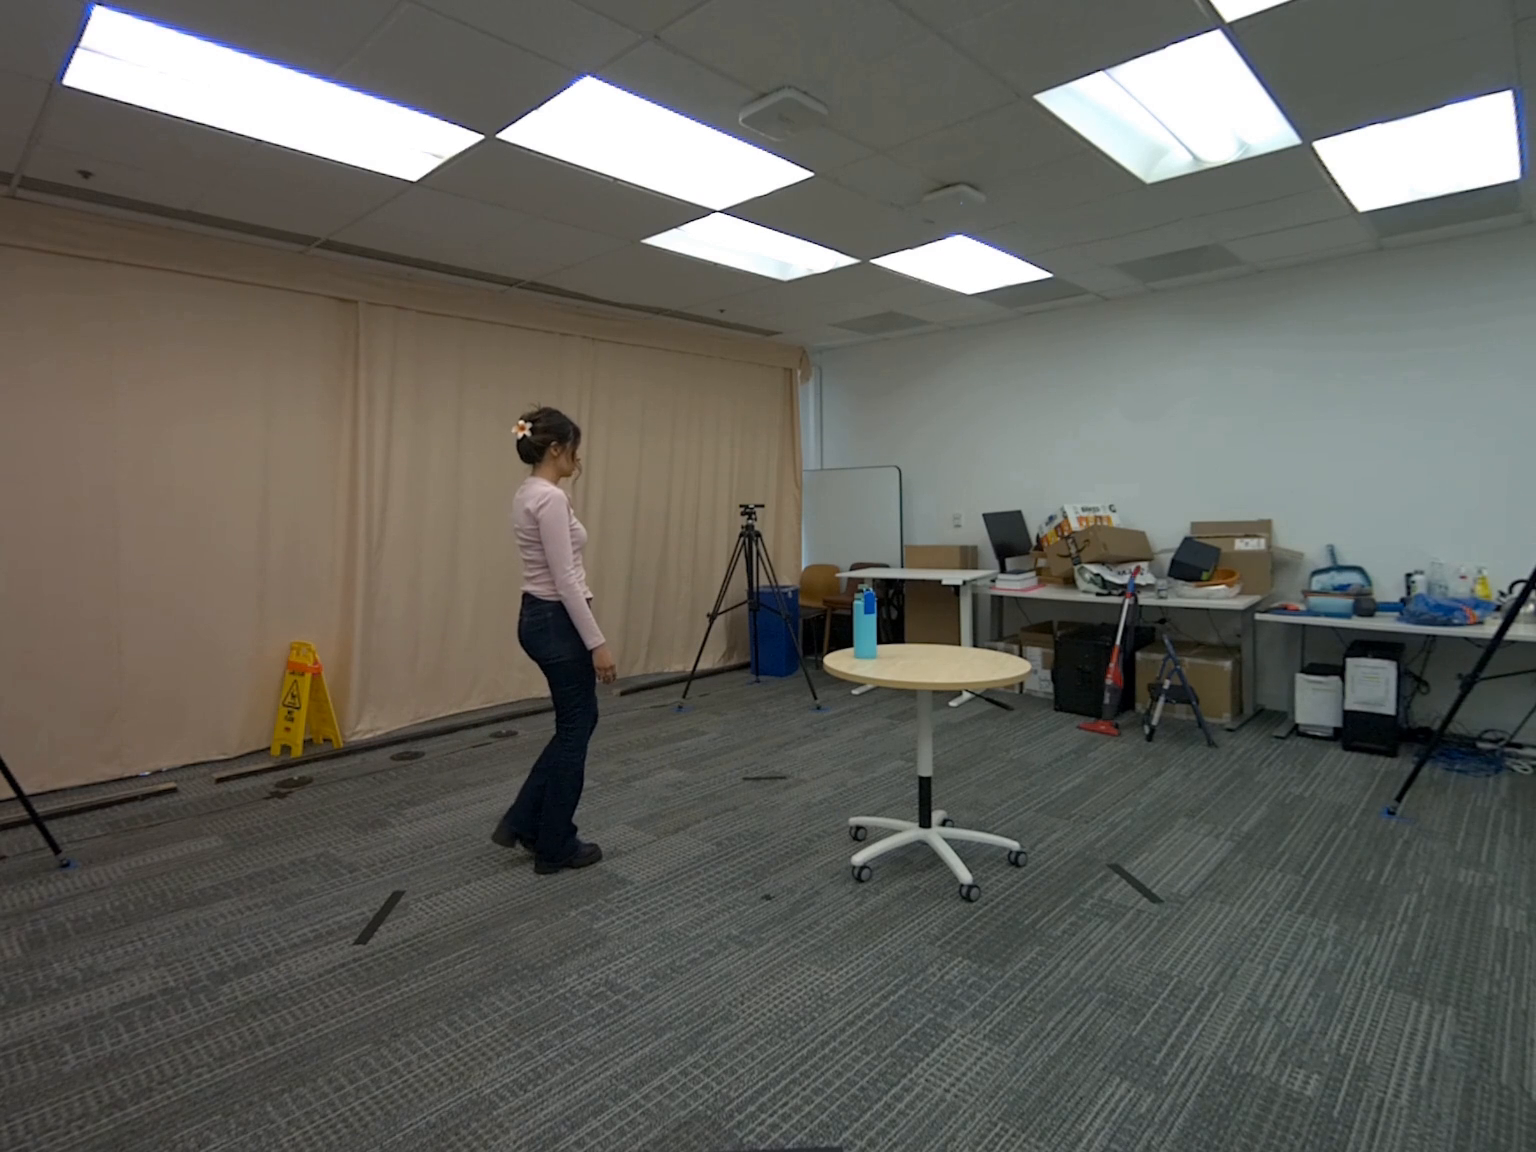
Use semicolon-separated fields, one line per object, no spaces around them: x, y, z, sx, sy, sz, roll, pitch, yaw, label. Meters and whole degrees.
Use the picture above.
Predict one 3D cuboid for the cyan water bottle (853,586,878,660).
0.390;0.180;3.301;0.092;0.283;0.092;0;1;-2;cyan water bottle
